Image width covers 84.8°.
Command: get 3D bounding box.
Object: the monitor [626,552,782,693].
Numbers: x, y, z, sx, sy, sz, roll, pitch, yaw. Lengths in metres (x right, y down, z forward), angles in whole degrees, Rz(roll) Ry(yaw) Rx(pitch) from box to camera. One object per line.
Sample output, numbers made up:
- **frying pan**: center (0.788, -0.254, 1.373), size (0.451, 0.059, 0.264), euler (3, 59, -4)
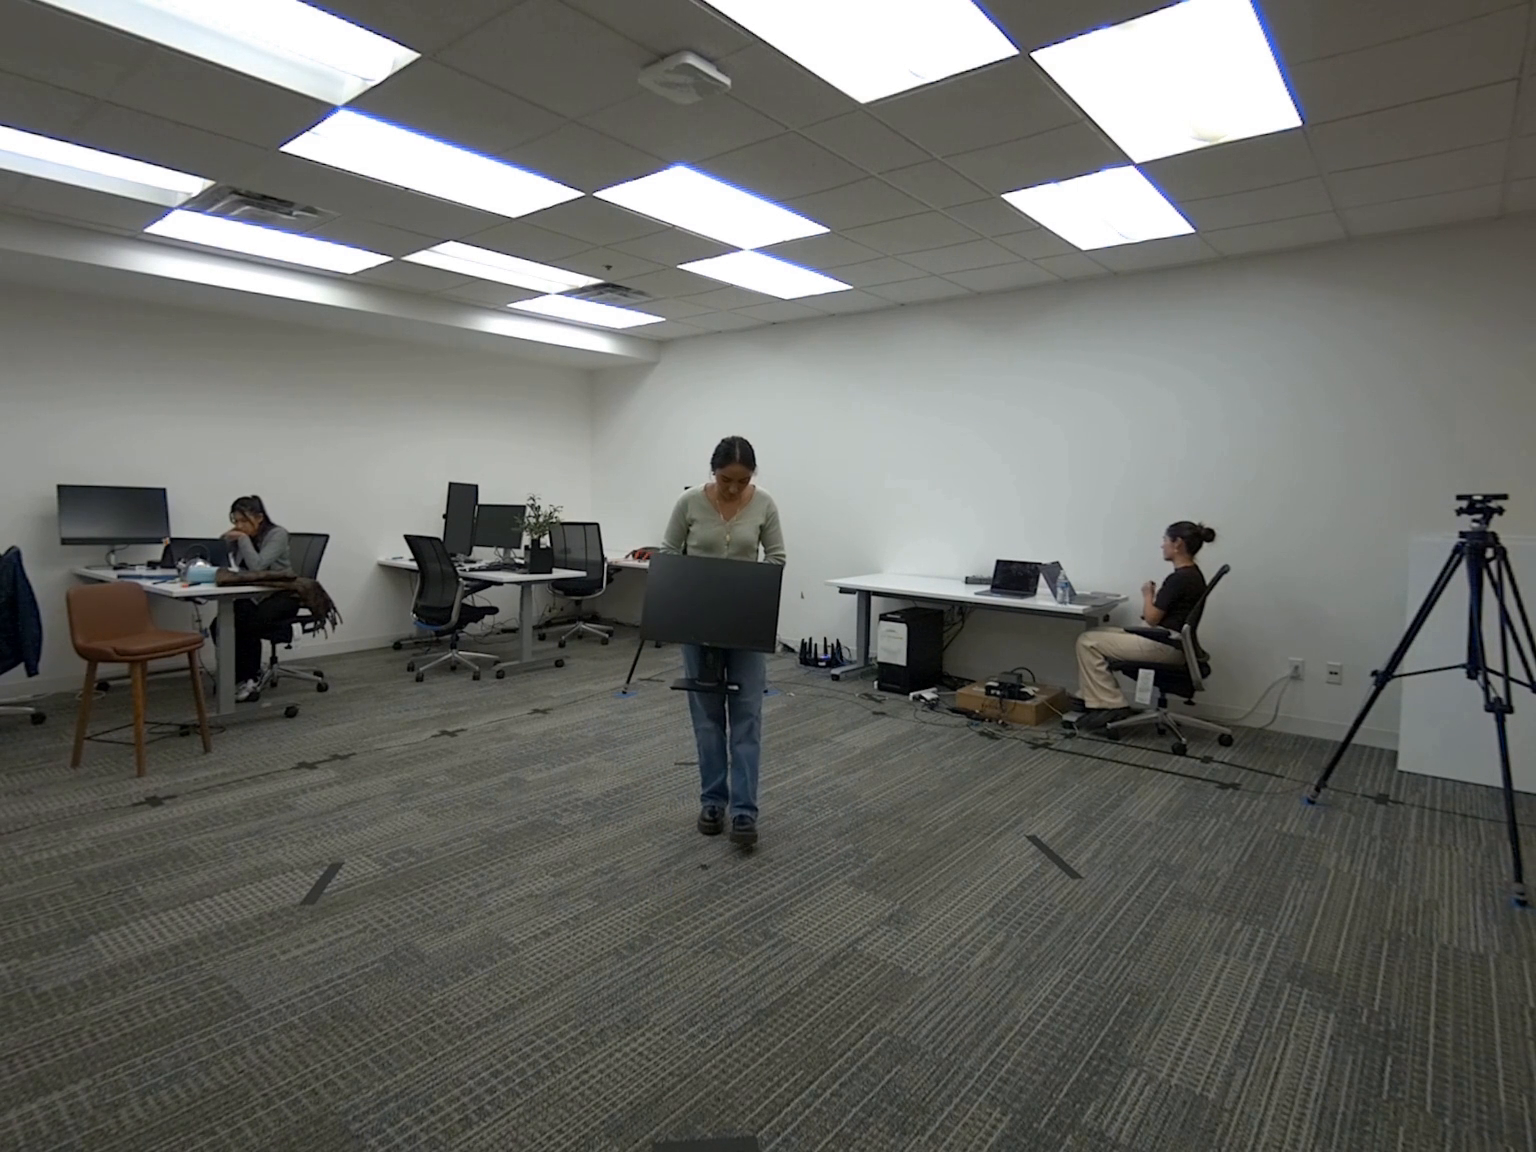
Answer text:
- **monitor**: center (-0.245, 0.181, 3.370), size (0.534, 0.513, 0.174), euler (5, 7, 7)
